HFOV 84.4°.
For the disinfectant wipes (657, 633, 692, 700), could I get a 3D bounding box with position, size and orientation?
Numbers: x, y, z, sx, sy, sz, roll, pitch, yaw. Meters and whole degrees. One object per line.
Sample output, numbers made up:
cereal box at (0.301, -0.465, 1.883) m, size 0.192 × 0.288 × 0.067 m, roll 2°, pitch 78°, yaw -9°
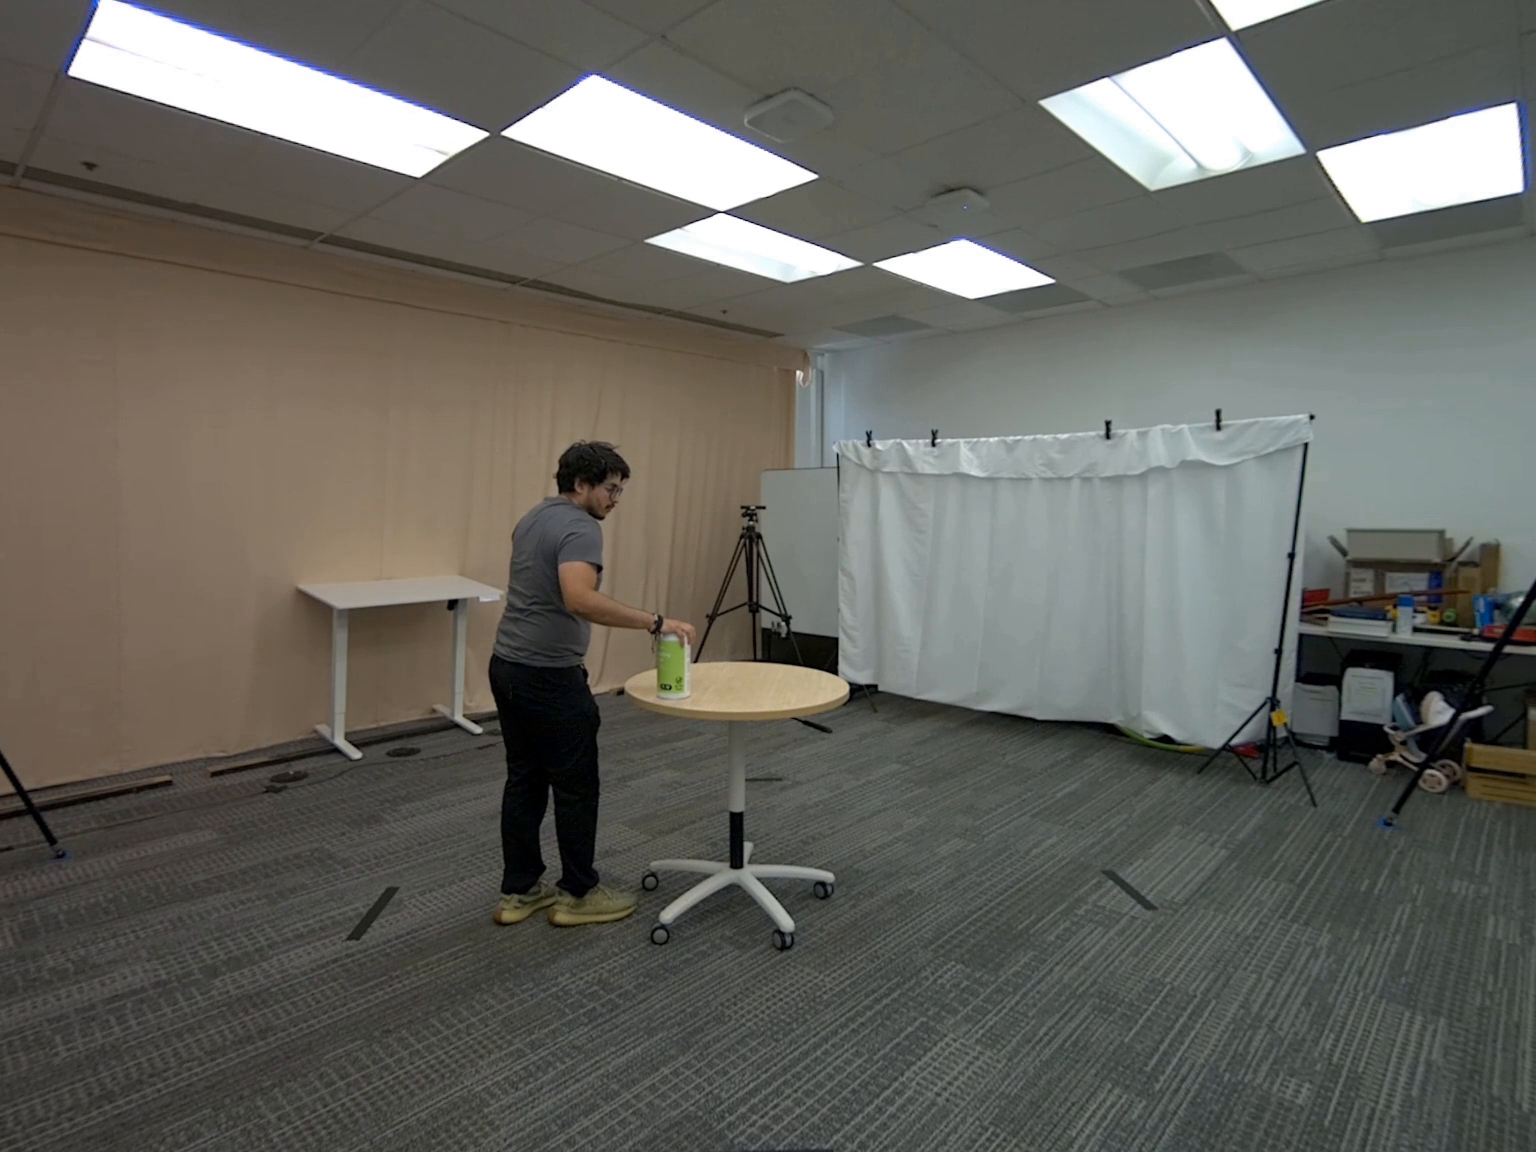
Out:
disinfectant wipes at (-0.305, 0.283, 2.694) m, size 0.118 × 0.216 × 0.118 m, roll -1°, pitch 6°, yaw -2°
